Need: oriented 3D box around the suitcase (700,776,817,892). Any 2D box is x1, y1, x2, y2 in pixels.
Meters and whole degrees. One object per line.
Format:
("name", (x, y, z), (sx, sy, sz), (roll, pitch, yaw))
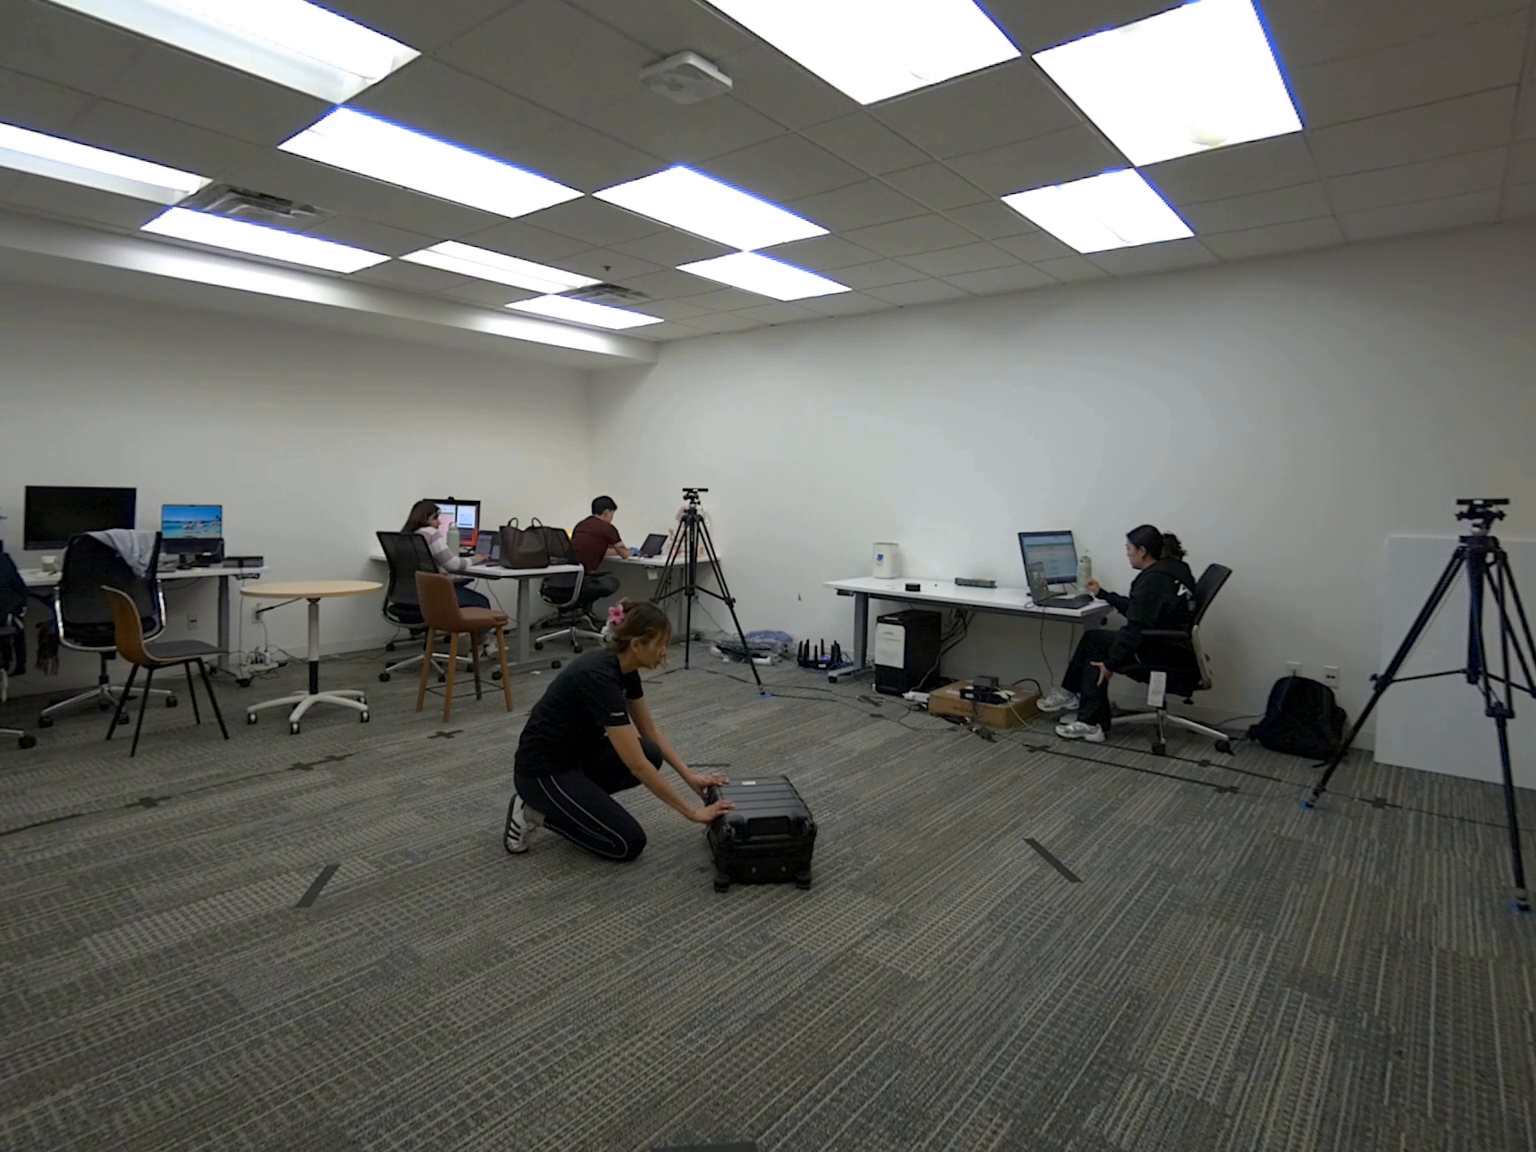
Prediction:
("suitcase", (-0.085, 0.921, 3.416), (0.380, 0.255, 0.993), (-1, 7, -10))
